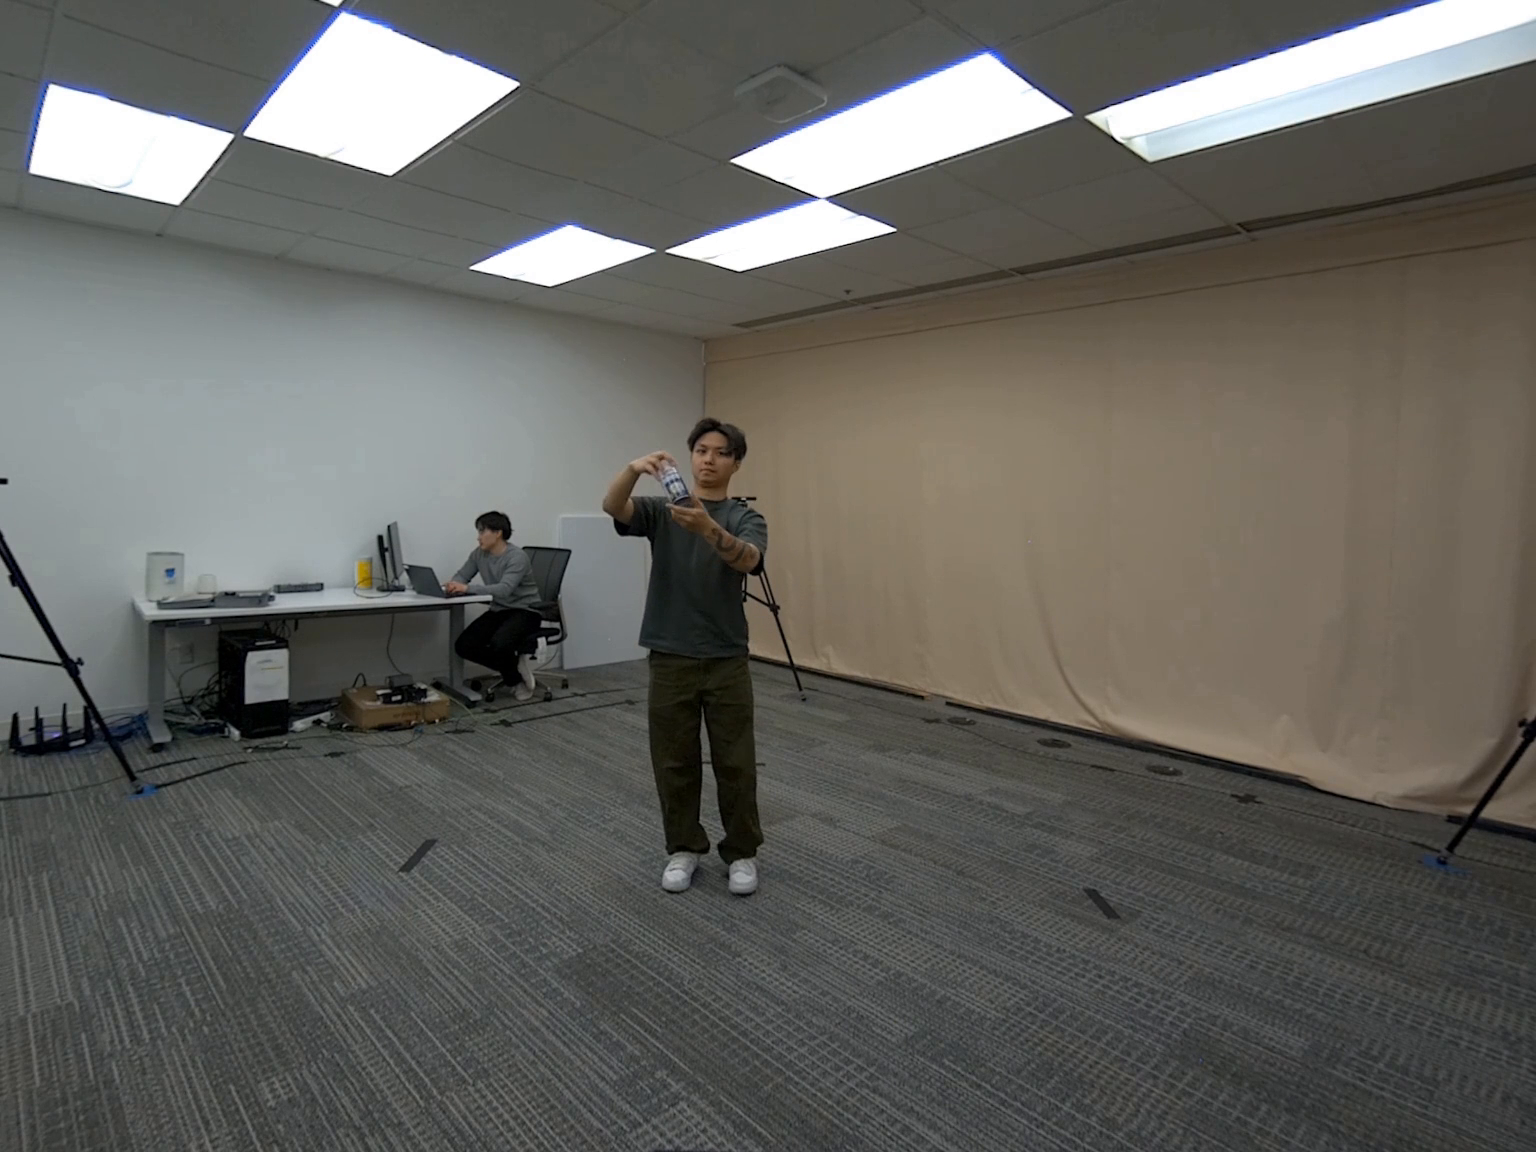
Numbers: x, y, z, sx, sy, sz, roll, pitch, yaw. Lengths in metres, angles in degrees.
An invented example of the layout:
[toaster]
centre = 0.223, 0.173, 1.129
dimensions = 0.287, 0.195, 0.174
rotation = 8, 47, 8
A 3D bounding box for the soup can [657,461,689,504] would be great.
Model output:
[soup can]
centre = -0.304, -0.281, 2.590
dimensions = 0.067, 0.123, 0.066
rotation = -21, -16, -8
